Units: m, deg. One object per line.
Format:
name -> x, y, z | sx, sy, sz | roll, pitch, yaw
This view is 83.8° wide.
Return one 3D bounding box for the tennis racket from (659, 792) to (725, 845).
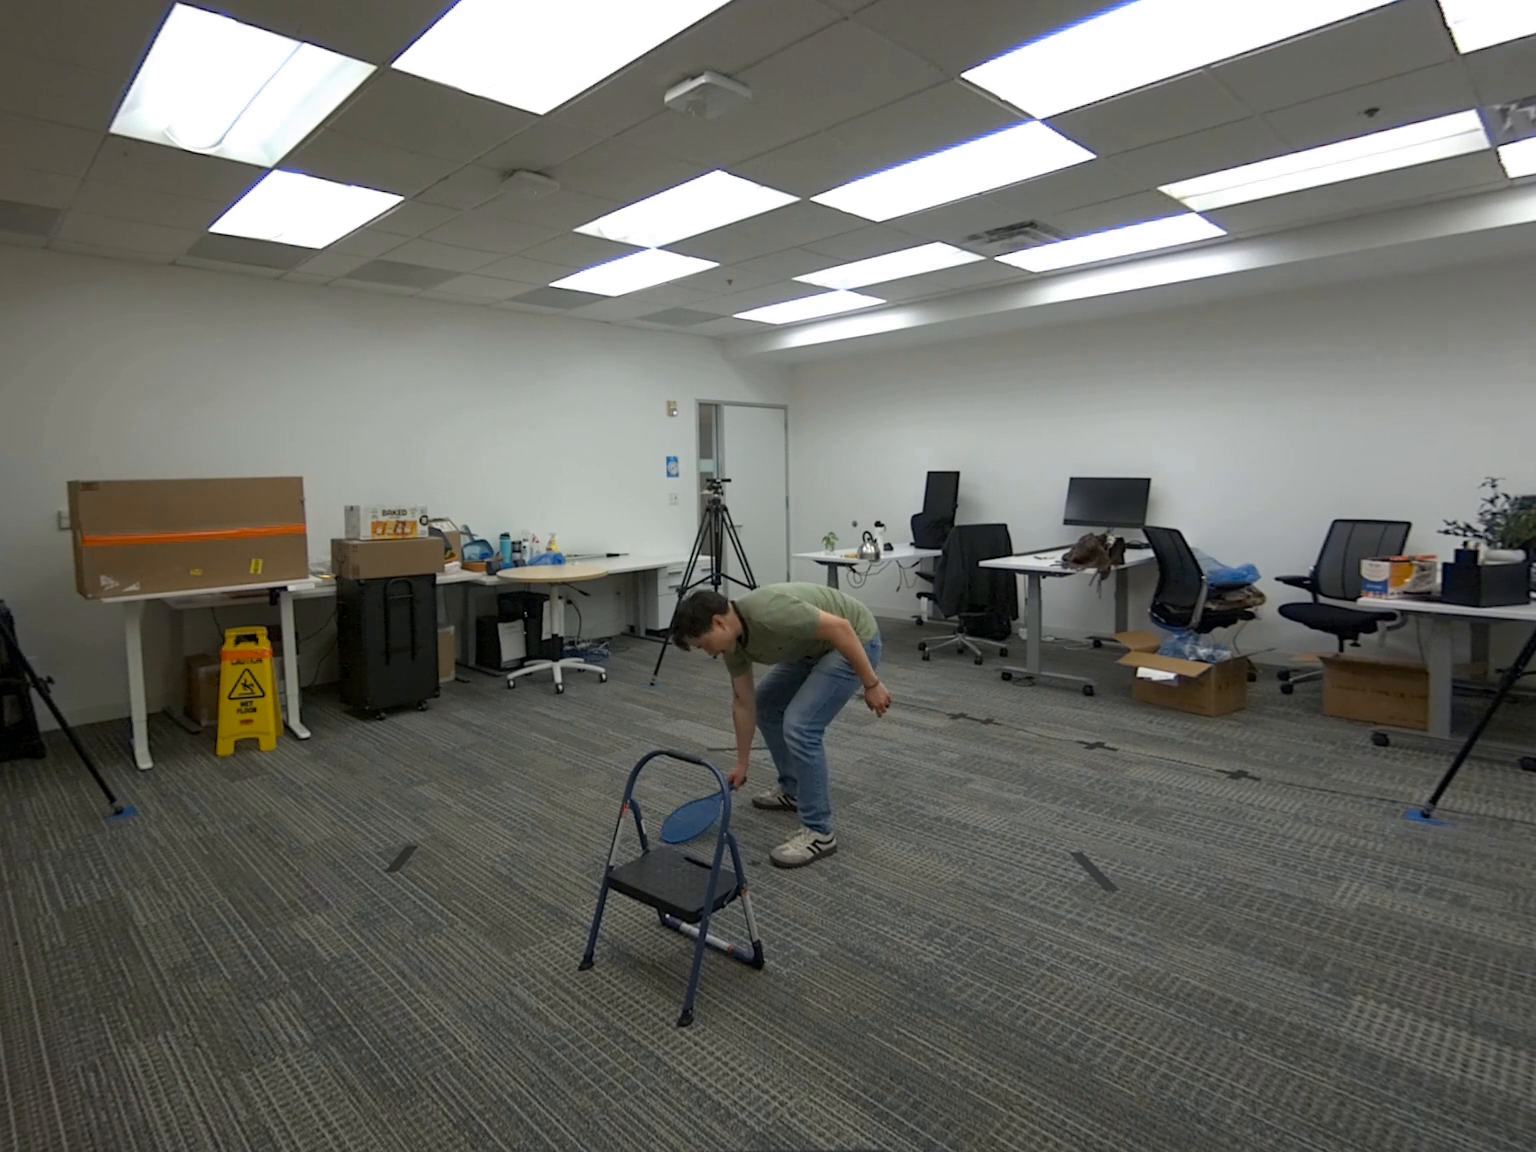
tennis racket -> -0.253, 0.919, 3.417 | 0.428, 0.031, 0.220 | -32, 22, -34
